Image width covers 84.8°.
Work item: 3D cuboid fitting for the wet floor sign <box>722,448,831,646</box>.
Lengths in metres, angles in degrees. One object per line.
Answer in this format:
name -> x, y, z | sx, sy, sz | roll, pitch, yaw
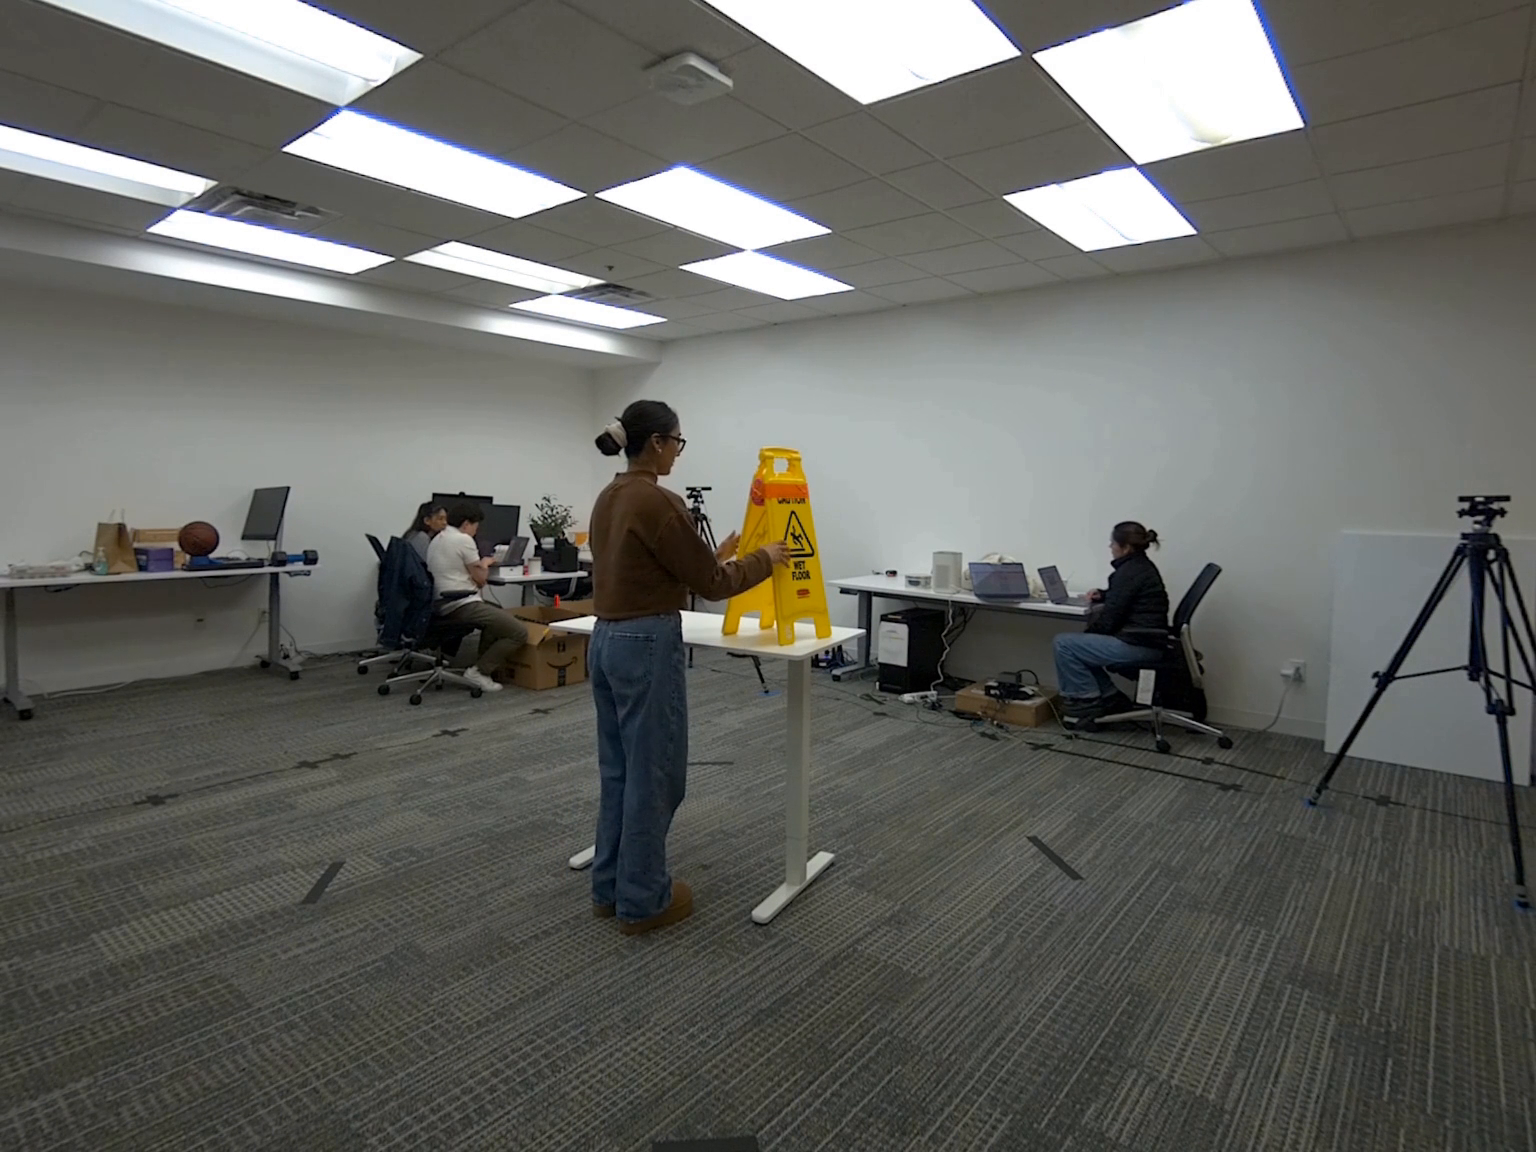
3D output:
wet floor sign -> 0.025, -0.116, 2.928 | 0.299, 0.644, 0.273 | 3, 3, 41
